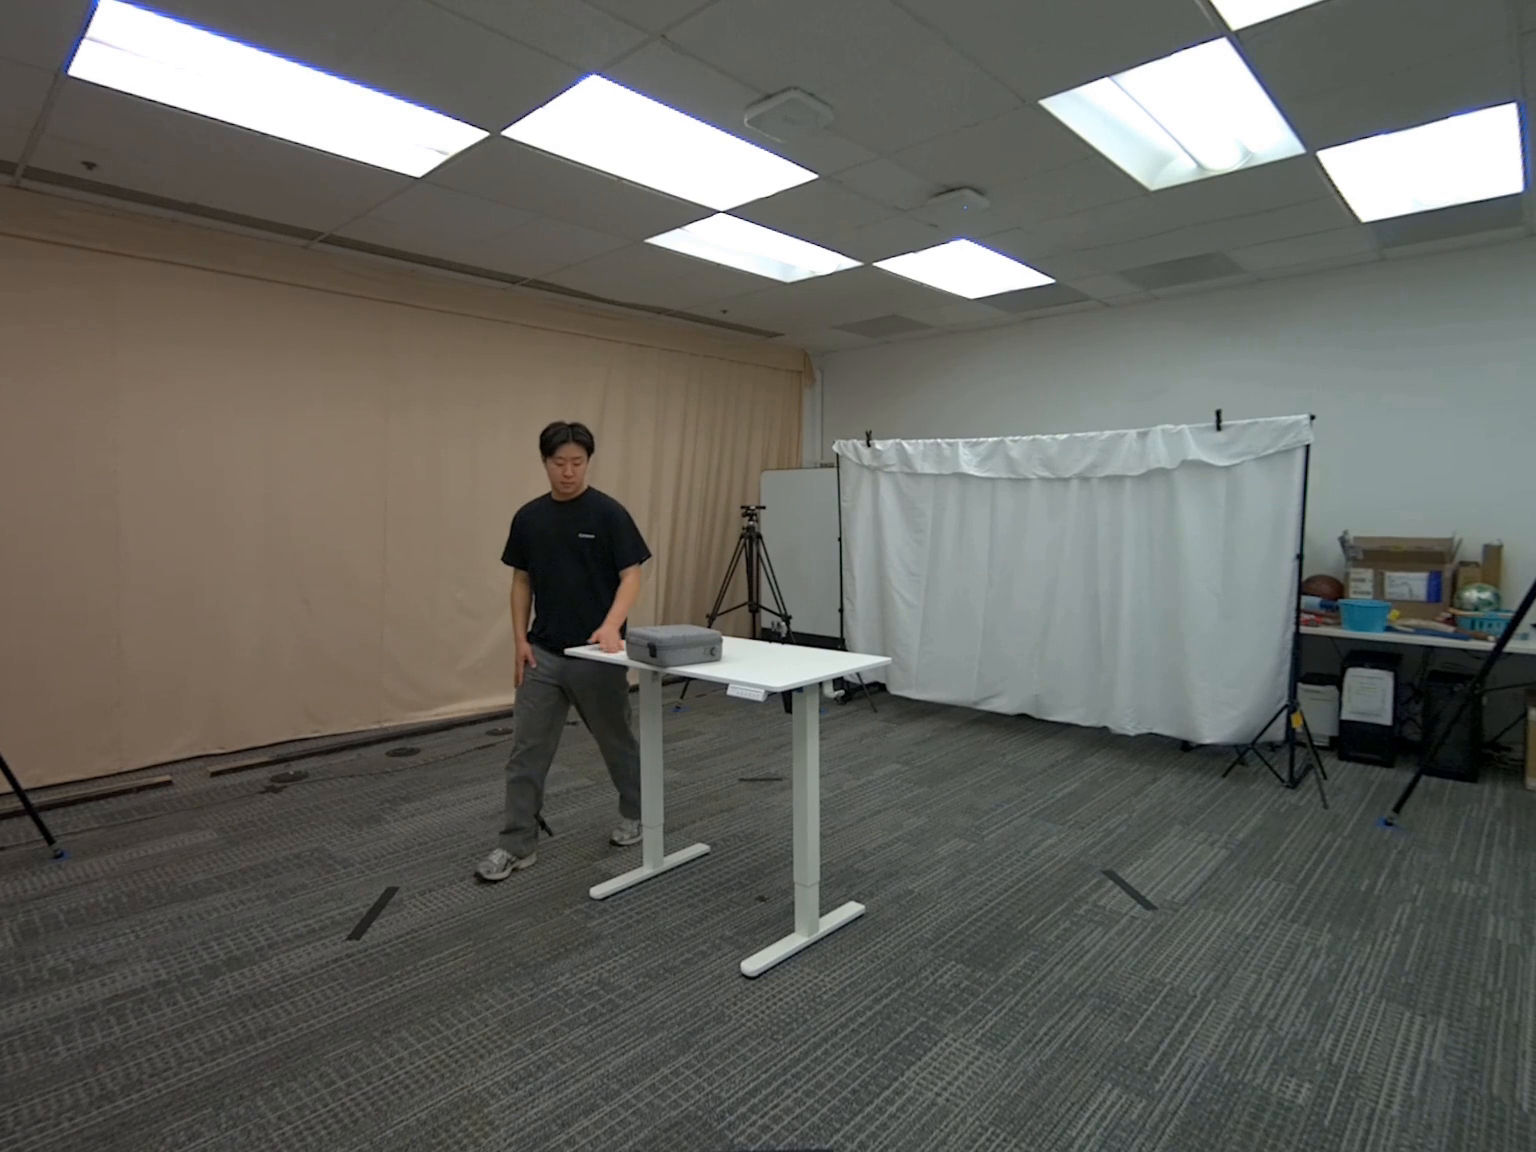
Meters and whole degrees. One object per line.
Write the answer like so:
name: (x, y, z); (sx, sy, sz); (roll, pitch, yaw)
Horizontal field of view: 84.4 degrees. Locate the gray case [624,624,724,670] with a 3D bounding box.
gray case: (-0.309, 0.226, 2.796); (0.253, 0.104, 0.265); (-2, 4, -34)
